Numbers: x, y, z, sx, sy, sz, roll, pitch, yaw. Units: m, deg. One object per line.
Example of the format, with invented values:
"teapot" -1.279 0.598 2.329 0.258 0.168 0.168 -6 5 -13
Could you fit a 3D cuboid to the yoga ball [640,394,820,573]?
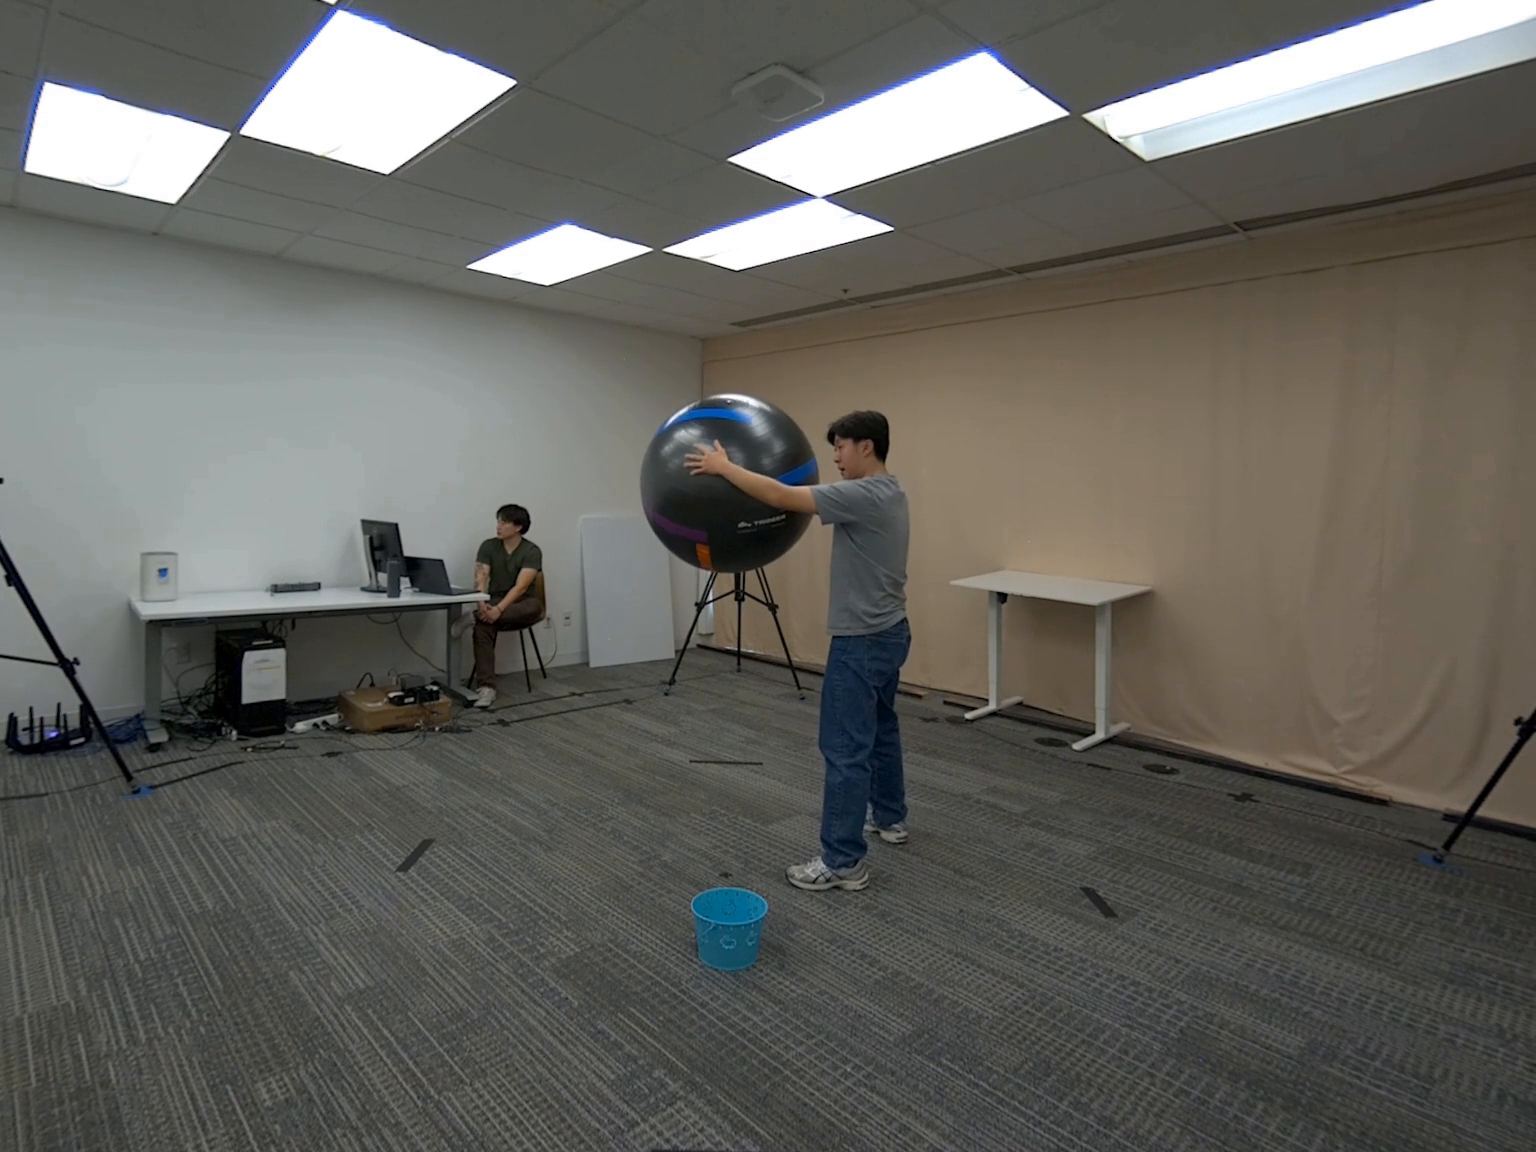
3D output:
"yoga ball" -0.169 -0.369 3.571 0.757 0.756 0.761 1 4 -1
